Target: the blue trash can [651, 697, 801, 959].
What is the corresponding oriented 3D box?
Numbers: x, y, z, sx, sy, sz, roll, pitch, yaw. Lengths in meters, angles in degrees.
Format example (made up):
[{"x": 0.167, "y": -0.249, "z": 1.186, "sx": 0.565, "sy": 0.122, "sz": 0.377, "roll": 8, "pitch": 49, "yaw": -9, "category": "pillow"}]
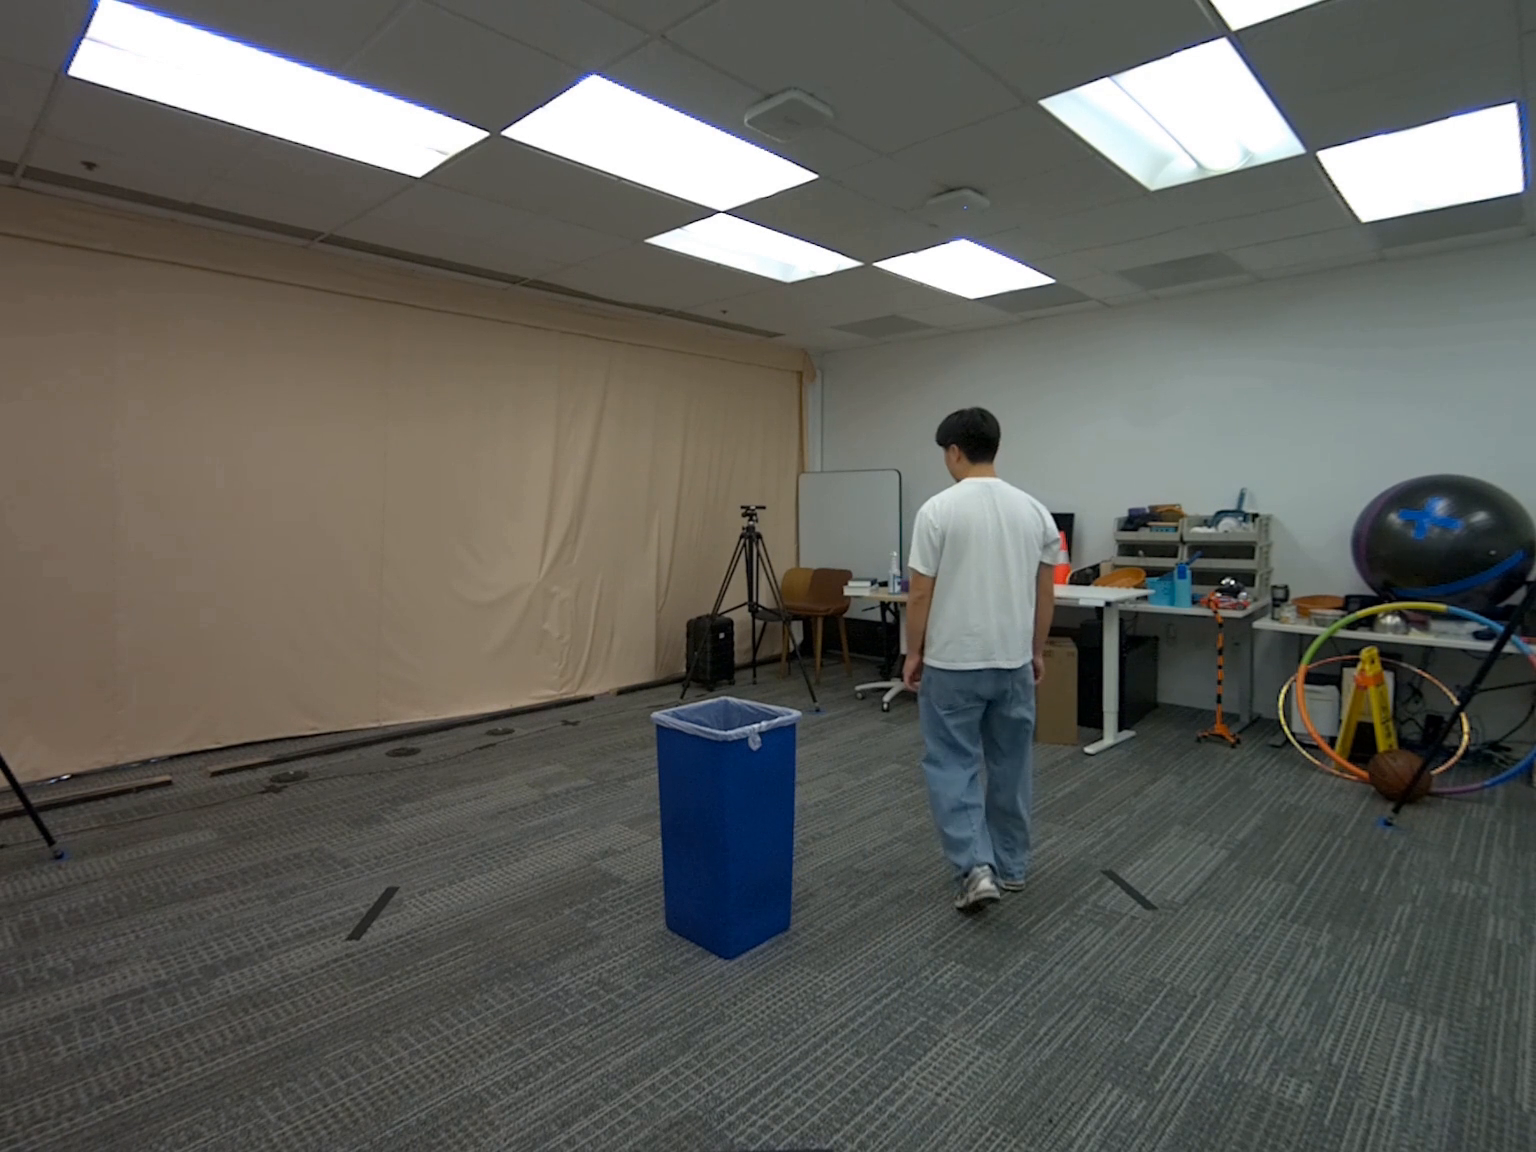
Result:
[{"x": -0.139, "y": 0.803, "z": 2.768, "sx": 0.386, "sy": 0.712, "sz": 0.366, "roll": 3, "pitch": 4, "yaw": 44, "category": "blue trash can"}]
